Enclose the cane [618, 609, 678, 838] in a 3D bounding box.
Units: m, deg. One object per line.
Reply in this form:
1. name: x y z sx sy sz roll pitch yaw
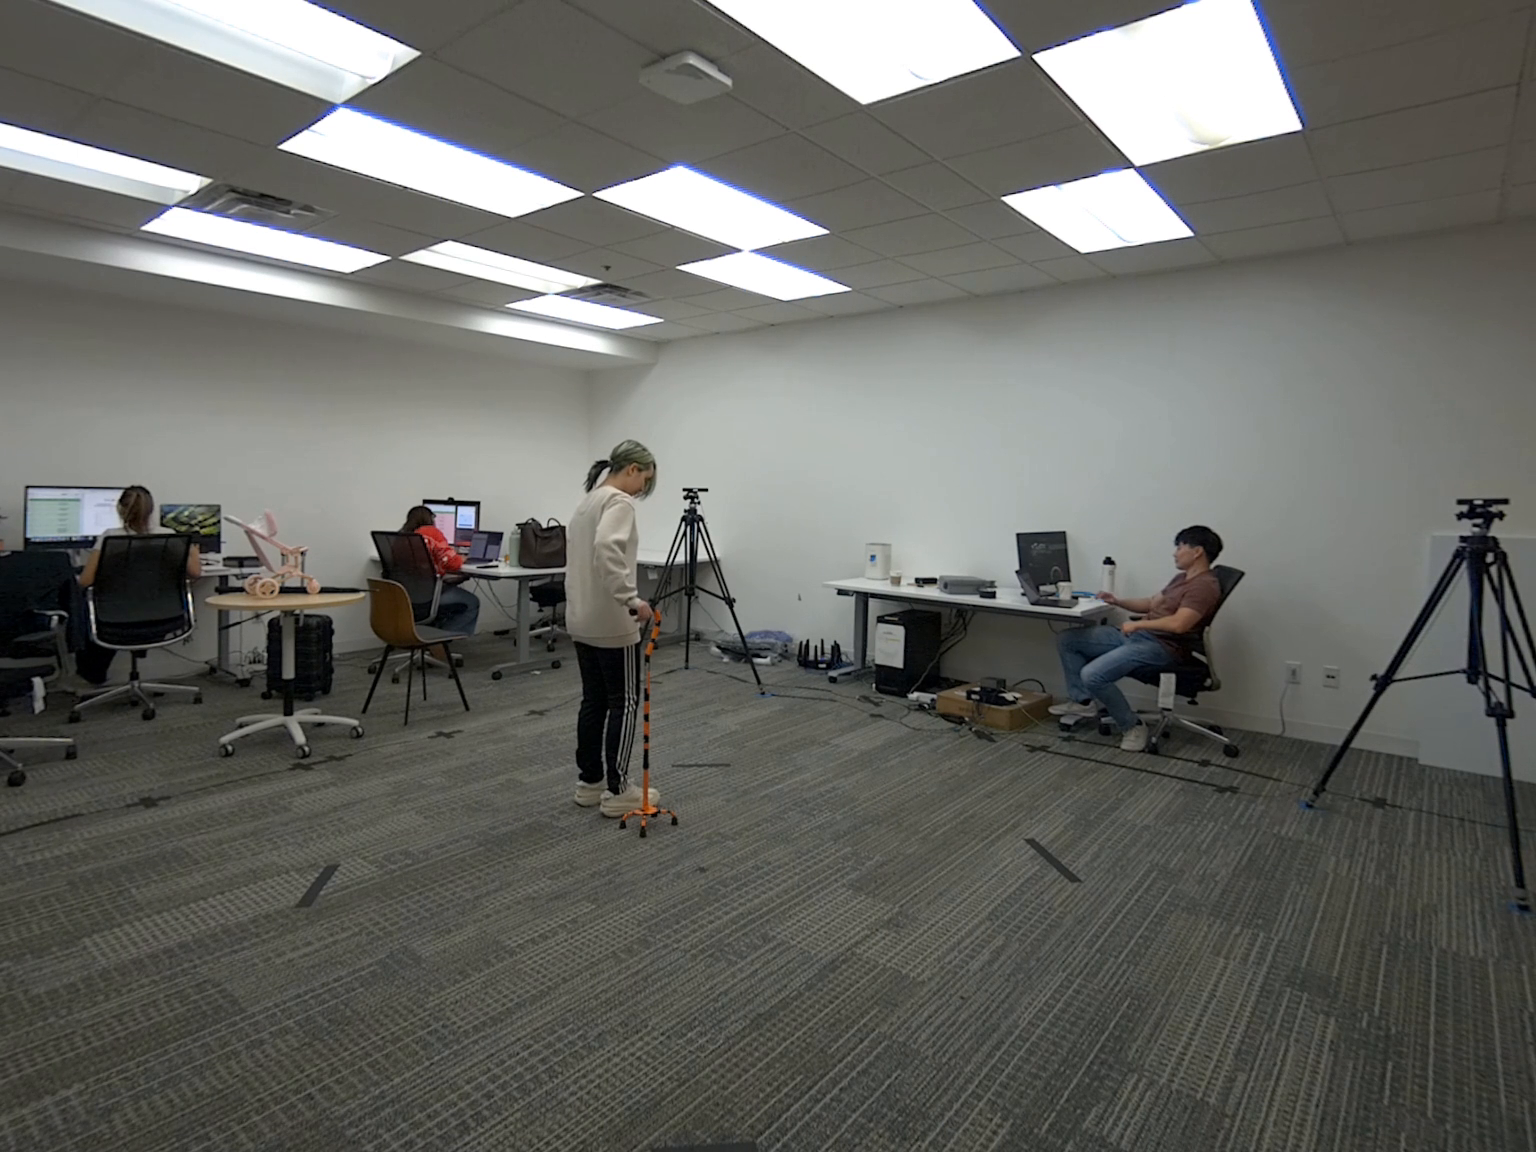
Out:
1. cane: -0.490 0.575 3.474 0.157 0.905 0.200 4 4 44
